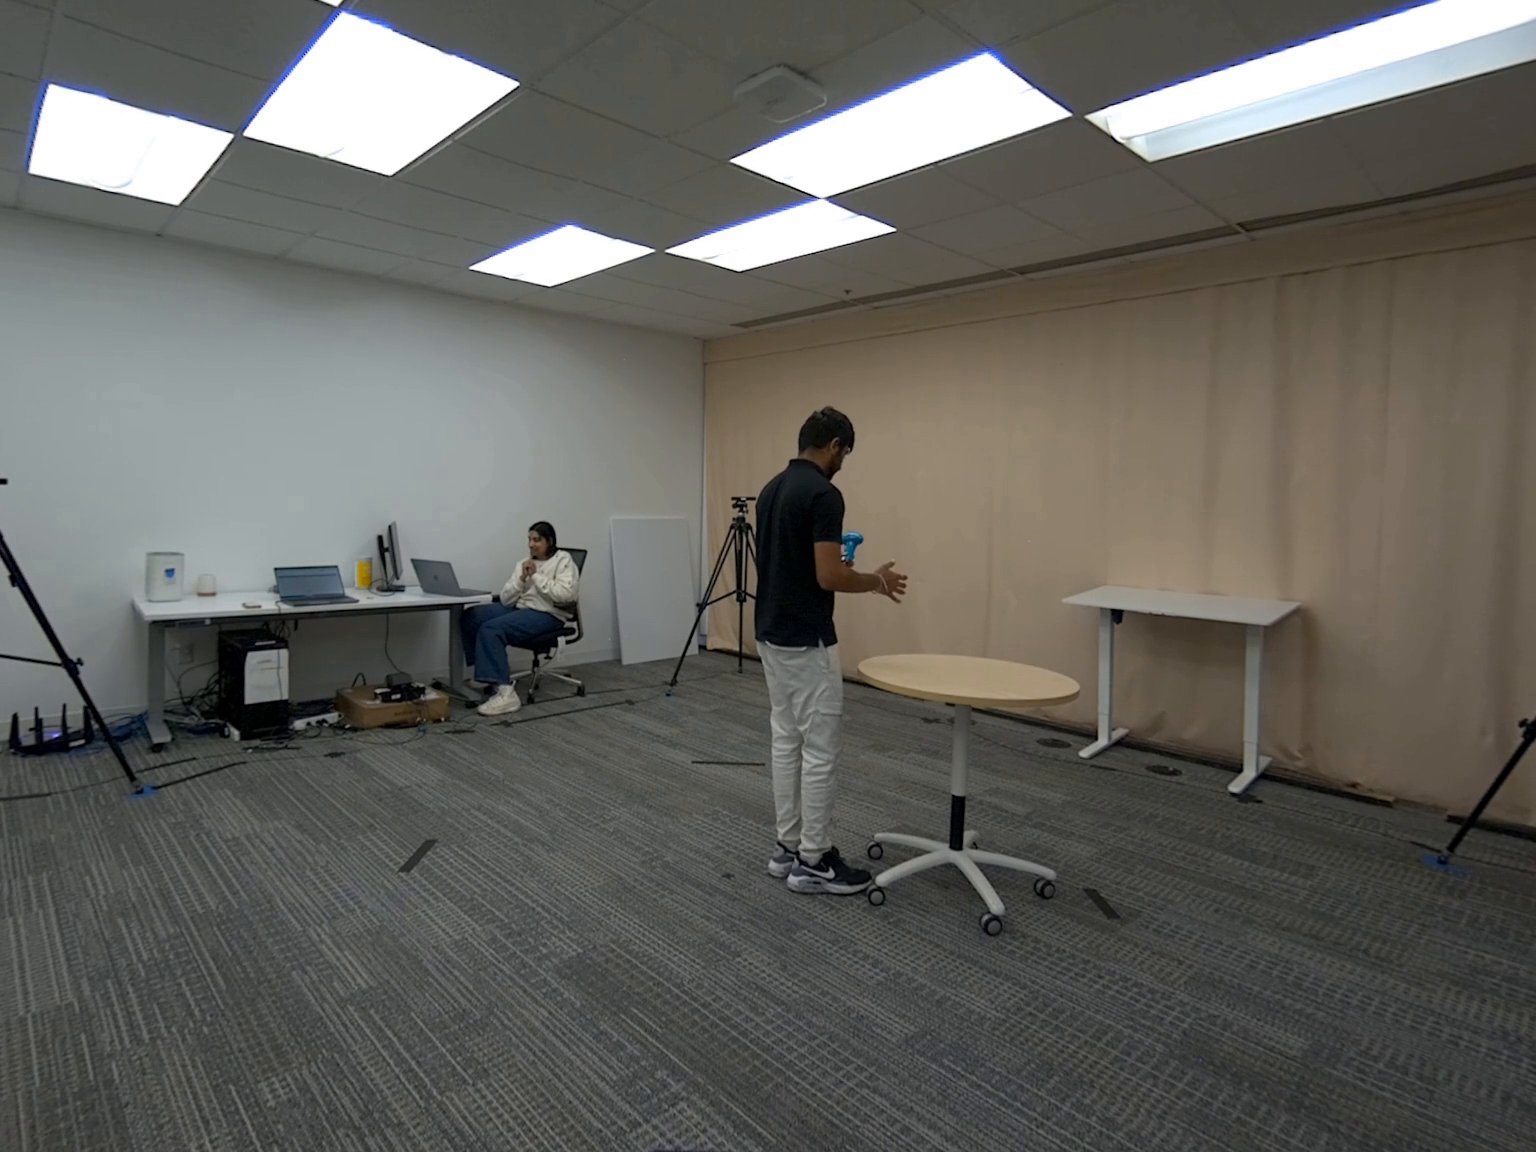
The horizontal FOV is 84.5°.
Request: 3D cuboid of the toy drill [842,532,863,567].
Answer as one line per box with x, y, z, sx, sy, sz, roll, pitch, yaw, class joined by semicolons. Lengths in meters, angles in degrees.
0.313;-0.114;3.440;0.059;0.147;0.173;24;-12;-32;toy drill
